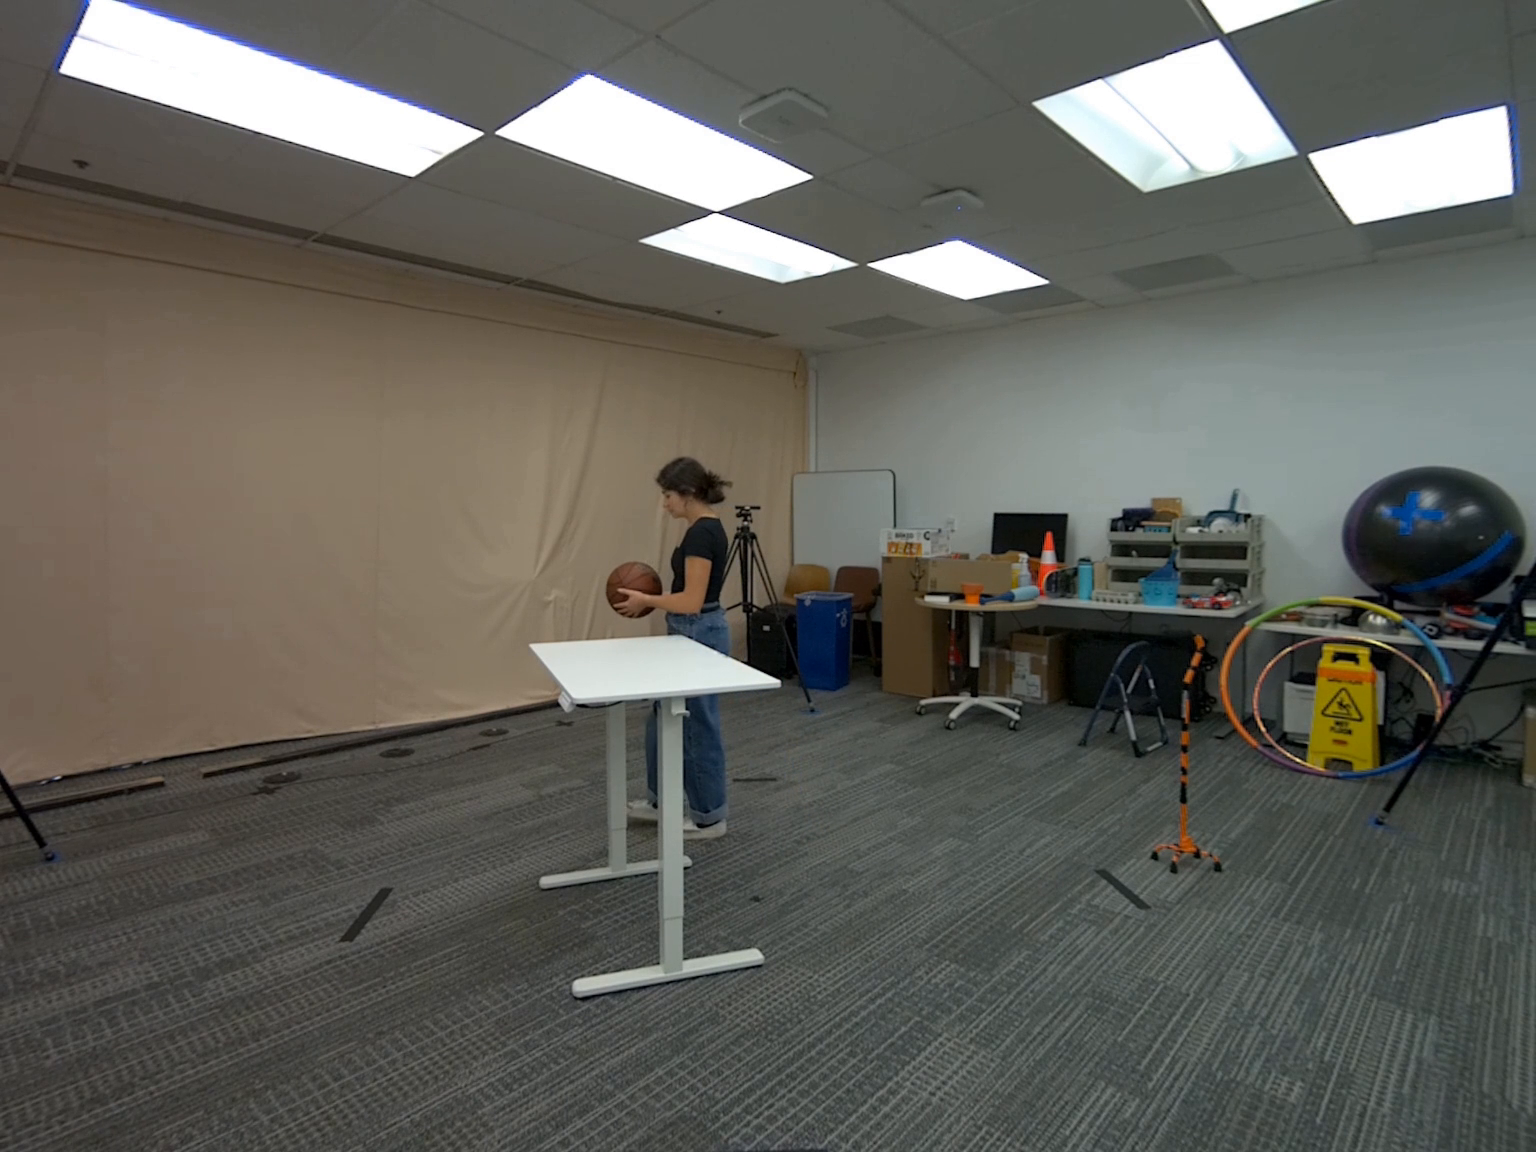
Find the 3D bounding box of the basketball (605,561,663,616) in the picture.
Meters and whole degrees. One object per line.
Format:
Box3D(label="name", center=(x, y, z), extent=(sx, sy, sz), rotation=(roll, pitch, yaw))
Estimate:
Box3D(label="basketball", center=(-0.563, 0.059, 3.560), extent=(0.236, 0.235, 0.237), rotation=(0, 4, -2))
